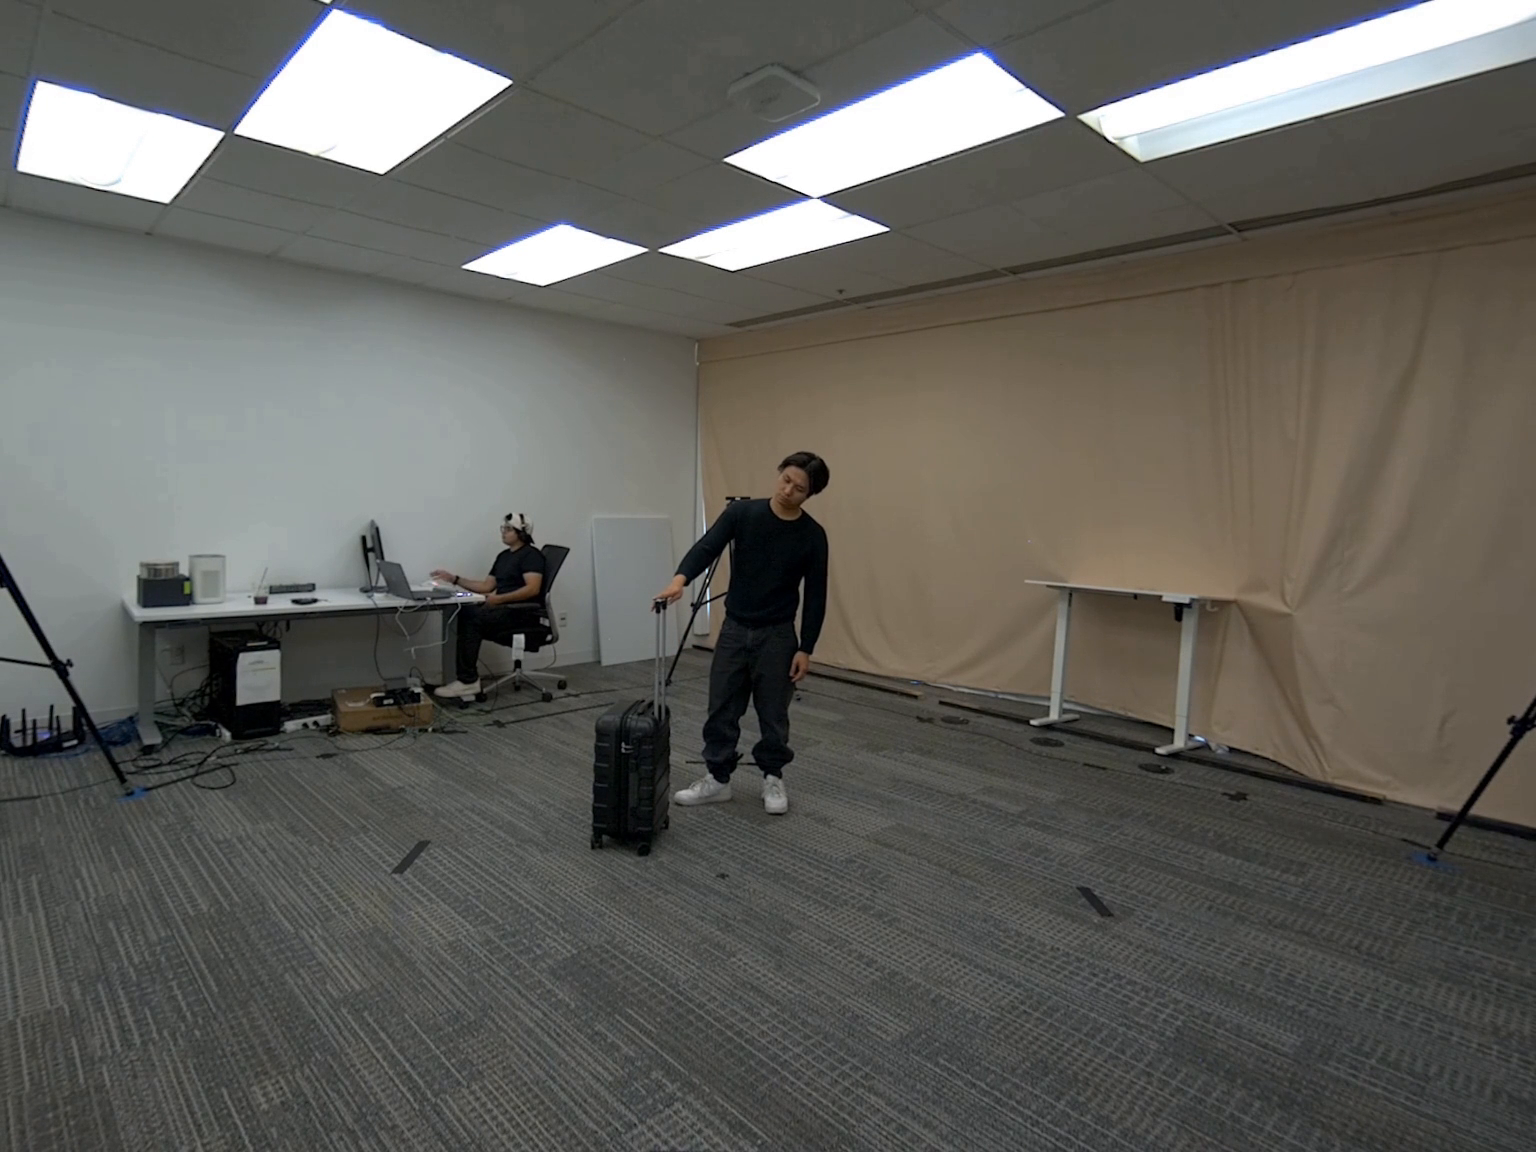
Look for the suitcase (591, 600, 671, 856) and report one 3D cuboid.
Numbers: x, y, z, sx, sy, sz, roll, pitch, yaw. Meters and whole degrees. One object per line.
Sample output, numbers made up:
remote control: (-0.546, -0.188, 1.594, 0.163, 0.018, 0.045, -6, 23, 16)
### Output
suitcase: (-0.555, 0.593, 3.418, 0.258, 0.977, 0.382, 0, 2, 6)
